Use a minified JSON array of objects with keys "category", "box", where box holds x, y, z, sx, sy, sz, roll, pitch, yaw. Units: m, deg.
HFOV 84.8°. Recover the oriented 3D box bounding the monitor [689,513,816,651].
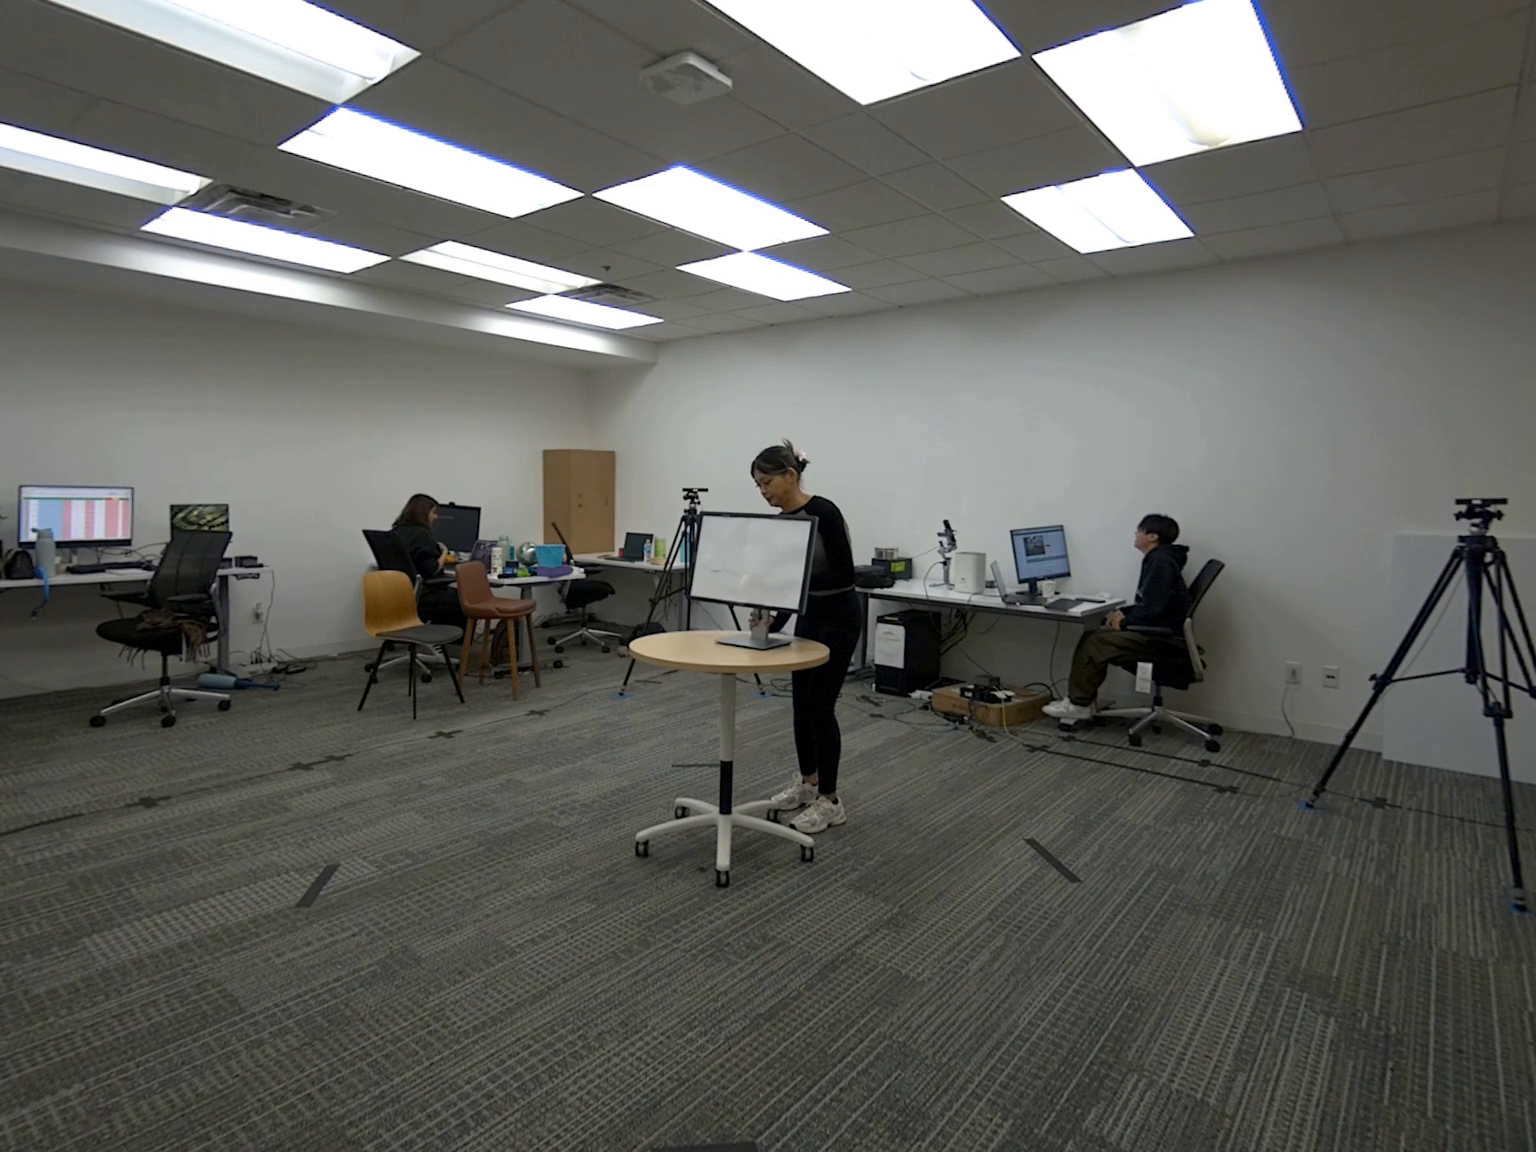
[{"category":"monitor","box":[-0.059,0.014,3.322,0.556,0.521,0.182,4,5,35]}]
